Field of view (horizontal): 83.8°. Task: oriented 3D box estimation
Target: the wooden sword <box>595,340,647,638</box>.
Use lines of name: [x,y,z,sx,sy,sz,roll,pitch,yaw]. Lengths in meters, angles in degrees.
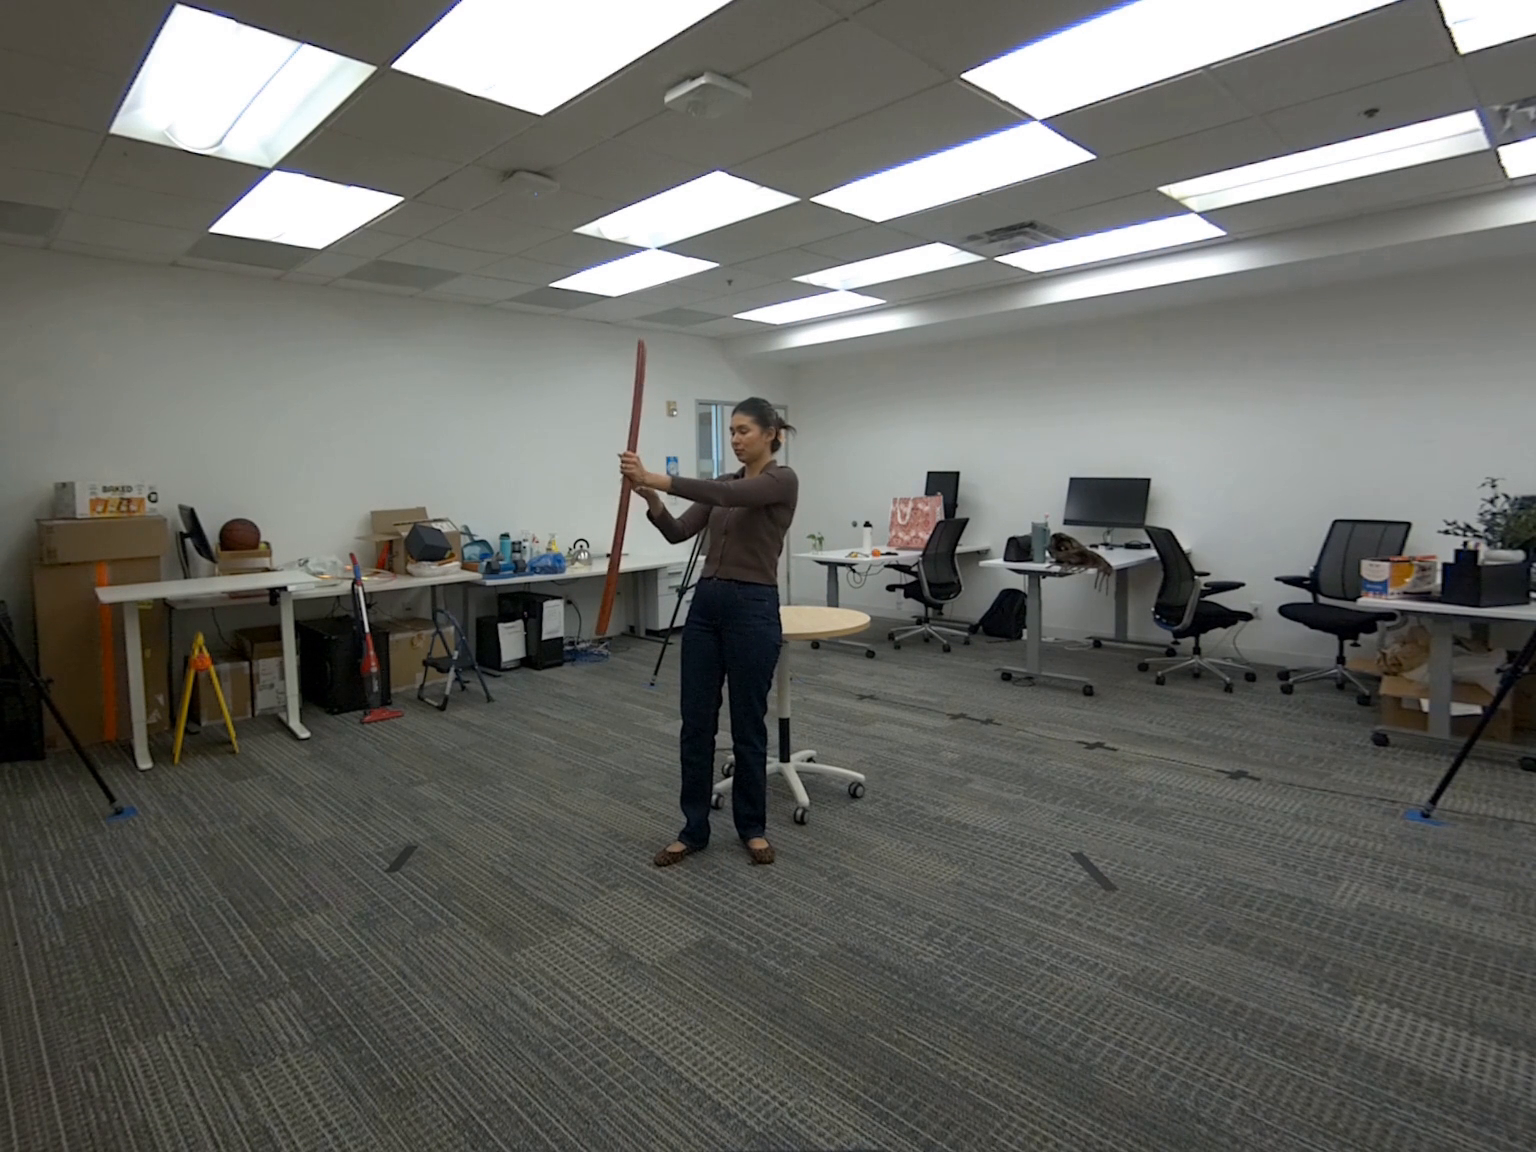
wooden sword: [-0.478,-0.320,2.830,0.051,1.035,0.024,7,-12,-6]
